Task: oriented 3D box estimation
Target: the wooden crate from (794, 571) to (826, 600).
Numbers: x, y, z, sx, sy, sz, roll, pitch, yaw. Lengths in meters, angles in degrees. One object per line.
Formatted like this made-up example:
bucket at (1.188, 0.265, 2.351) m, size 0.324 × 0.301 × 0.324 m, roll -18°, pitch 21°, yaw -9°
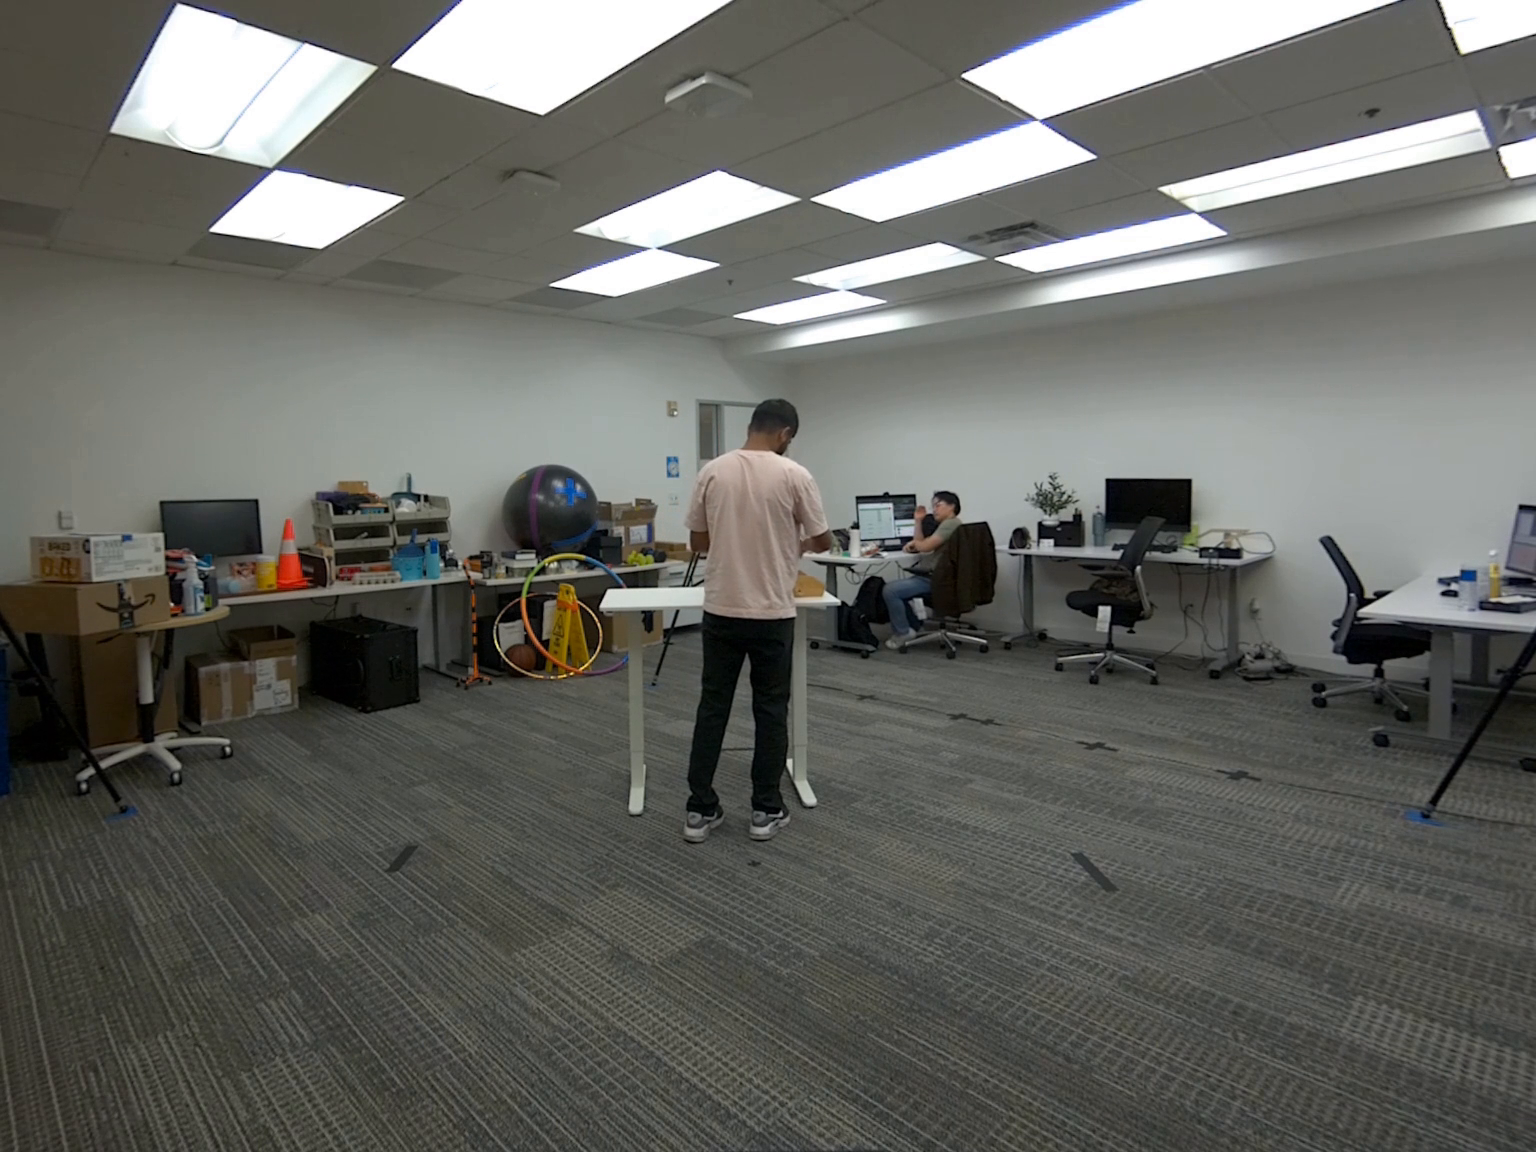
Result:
wooden crate at (0.091, -0.052, 3.862) m, size 0.300 × 0.272 × 0.328 m, roll -2°, pitch 5°, yaw -8°
